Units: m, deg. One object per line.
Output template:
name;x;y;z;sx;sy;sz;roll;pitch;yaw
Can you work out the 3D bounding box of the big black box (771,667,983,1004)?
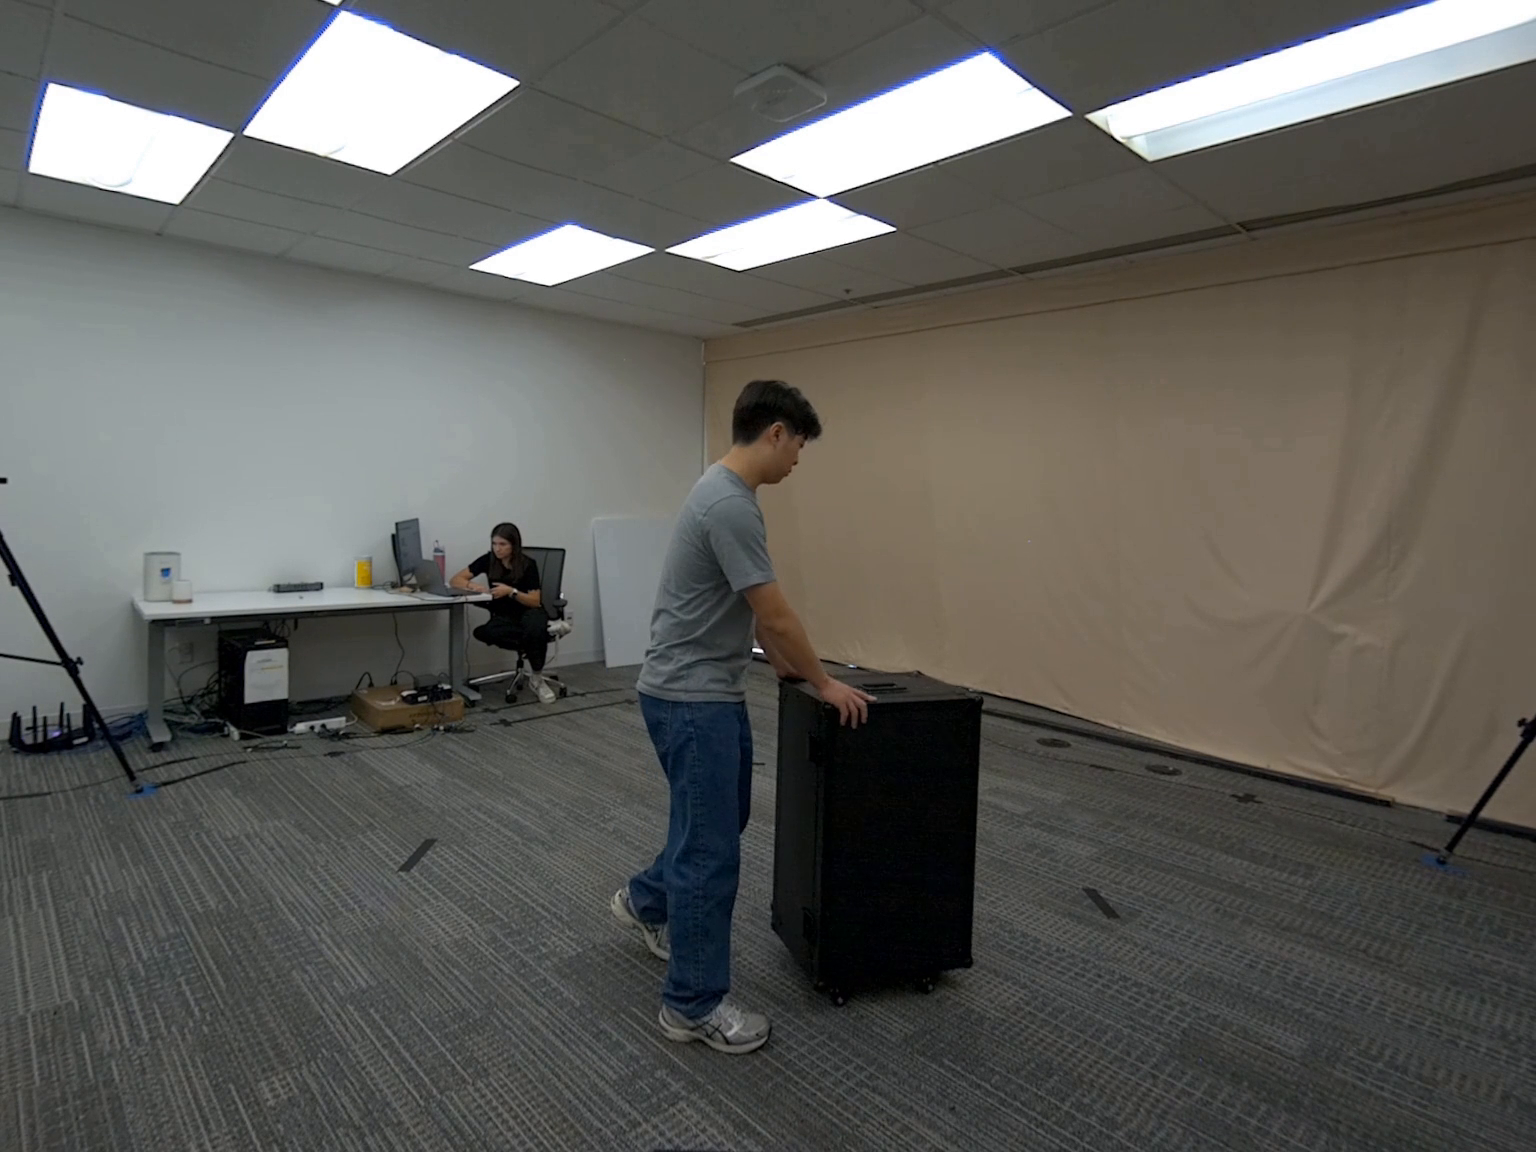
big black box;0.294;0.749;2.491;0.514;0.860;0.402;0;3;-19
